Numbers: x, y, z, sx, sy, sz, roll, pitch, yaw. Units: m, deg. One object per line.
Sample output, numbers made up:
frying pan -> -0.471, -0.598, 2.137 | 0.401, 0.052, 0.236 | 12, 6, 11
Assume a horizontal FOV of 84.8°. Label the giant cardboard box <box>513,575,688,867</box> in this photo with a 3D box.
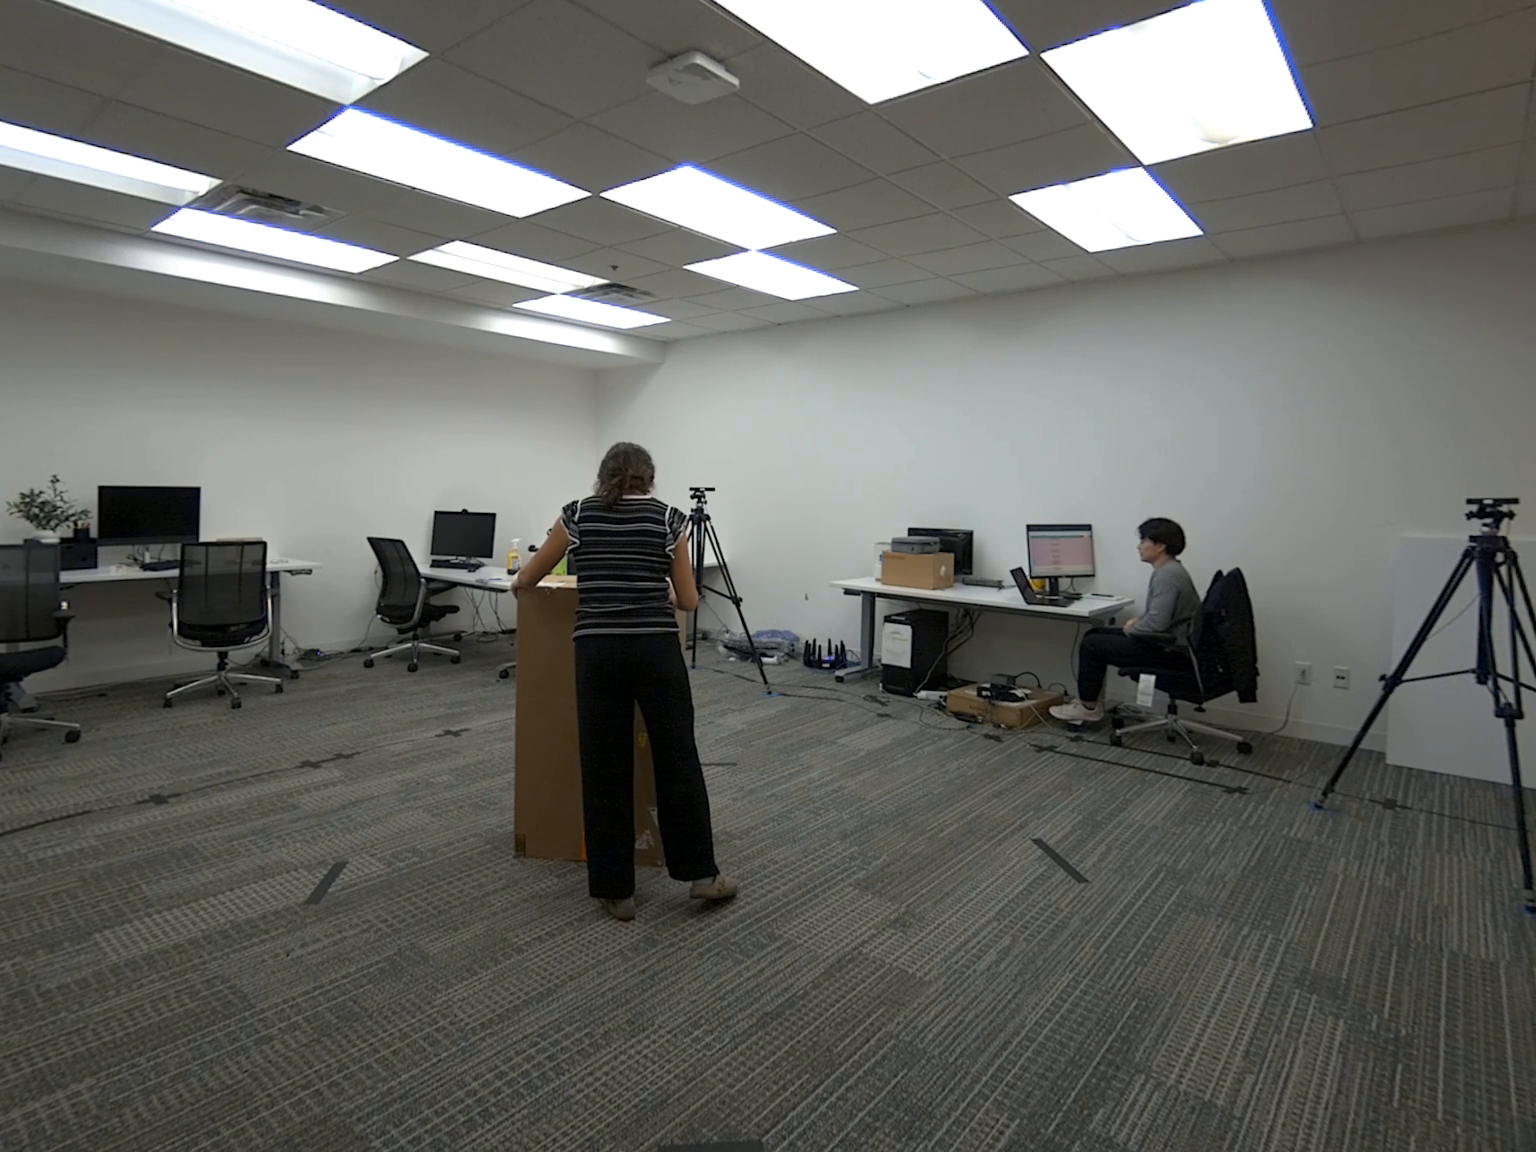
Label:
giant cardboard box -> -0.660, 0.532, 3.333 | 0.581, 1.023, 0.424 | 2, 3, 5
